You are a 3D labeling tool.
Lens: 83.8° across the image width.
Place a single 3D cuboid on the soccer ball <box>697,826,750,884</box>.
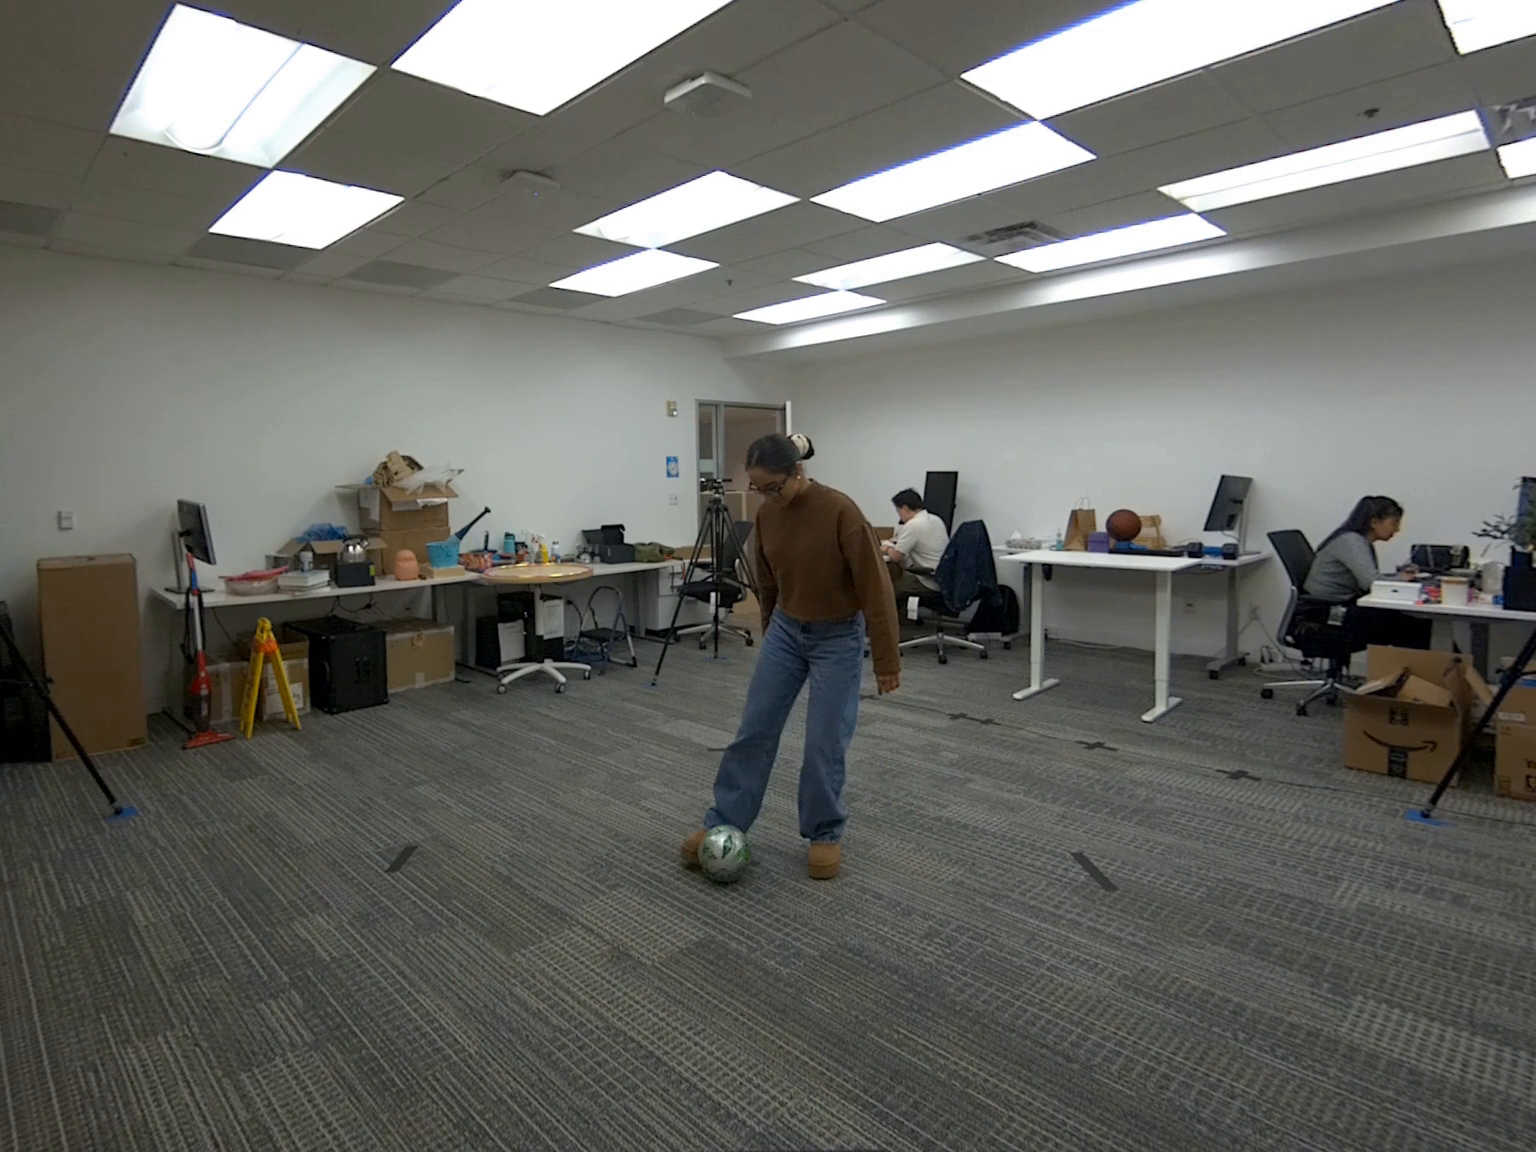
[{"bbox_3d":[-0.152,0.971,2.974,0.187,0.187,0.188,-1,5,-2],"label":"soccer ball"}]
